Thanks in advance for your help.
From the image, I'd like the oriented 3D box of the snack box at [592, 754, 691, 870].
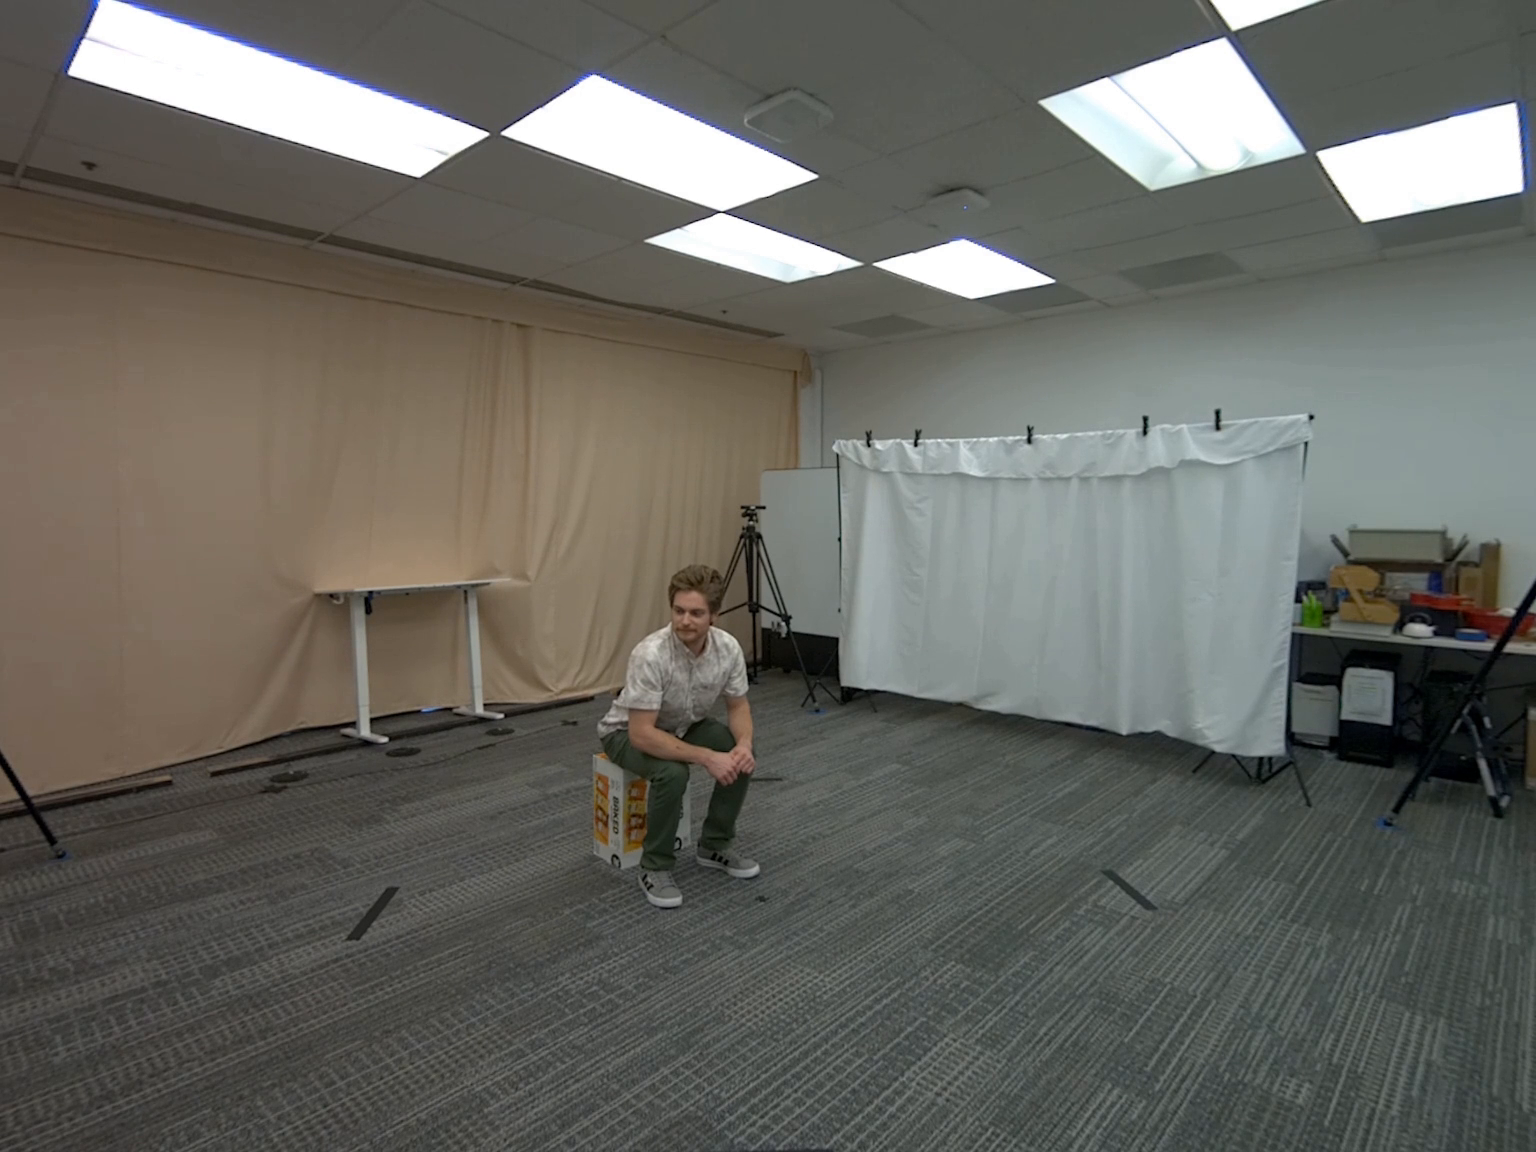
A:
[{"bbox_3d":[-0.511,0.913,3.407,0.330,0.404,0.213,-4,7,-44],"label":"snack box"}]
